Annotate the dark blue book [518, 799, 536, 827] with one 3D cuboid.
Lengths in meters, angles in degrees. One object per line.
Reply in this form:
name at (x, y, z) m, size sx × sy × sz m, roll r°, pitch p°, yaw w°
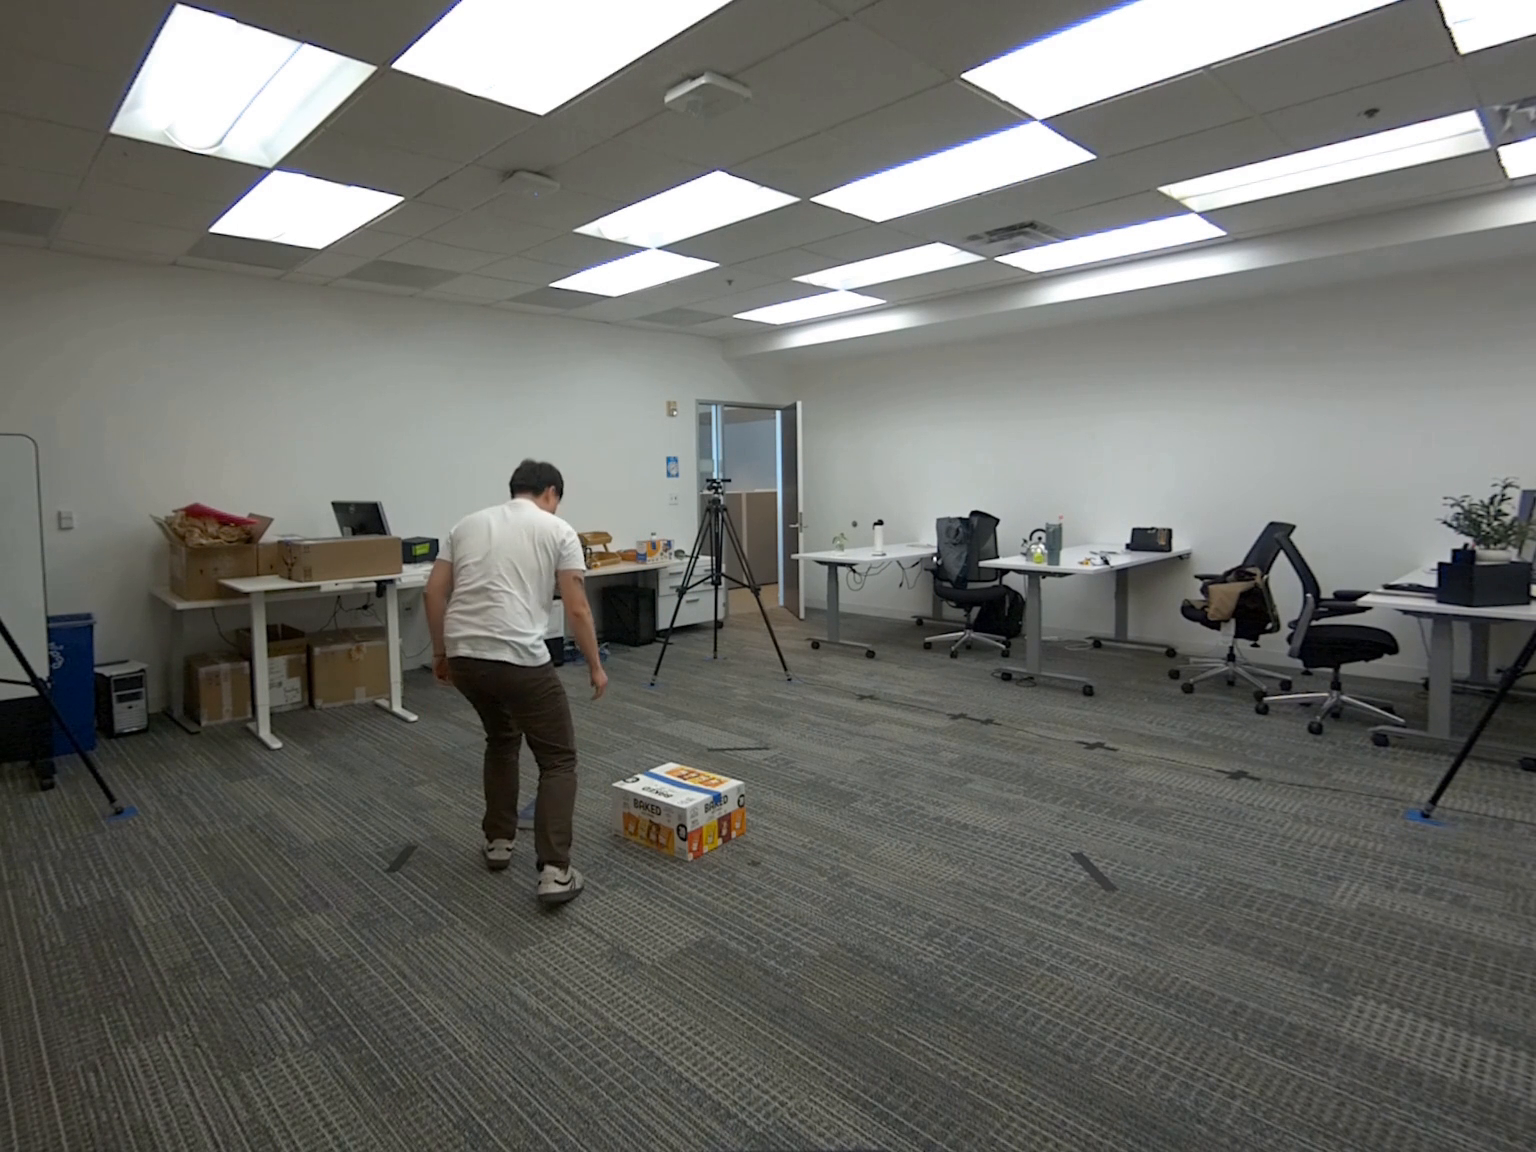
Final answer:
dark blue book at (-0.928, 0.988, 3.572) m, size 0.165 × 0.045 × 0.244 m, roll -1°, pitch 6°, yaw 7°
